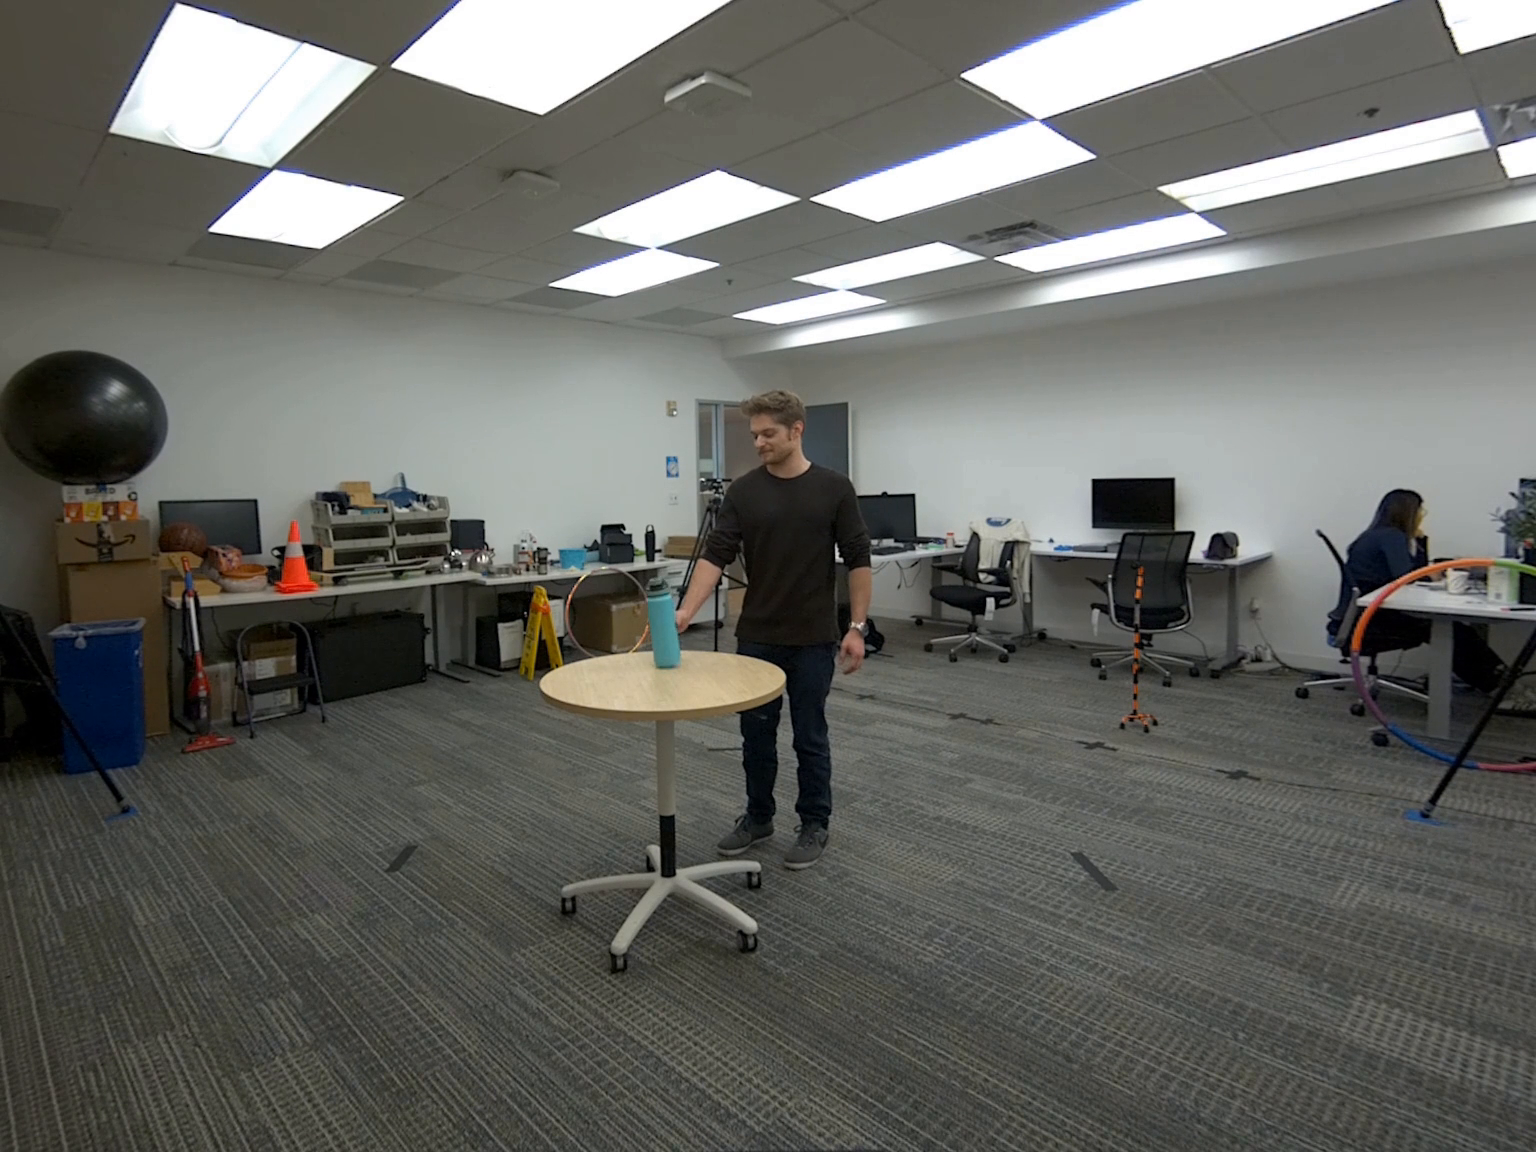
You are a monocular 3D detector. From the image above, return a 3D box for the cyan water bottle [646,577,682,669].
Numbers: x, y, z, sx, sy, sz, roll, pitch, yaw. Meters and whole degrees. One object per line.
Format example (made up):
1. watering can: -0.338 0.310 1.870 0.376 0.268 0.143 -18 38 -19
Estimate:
1. cyan water bottle: -0.348 0.136 2.811 0.092 0.282 0.093 -8 4 -1
